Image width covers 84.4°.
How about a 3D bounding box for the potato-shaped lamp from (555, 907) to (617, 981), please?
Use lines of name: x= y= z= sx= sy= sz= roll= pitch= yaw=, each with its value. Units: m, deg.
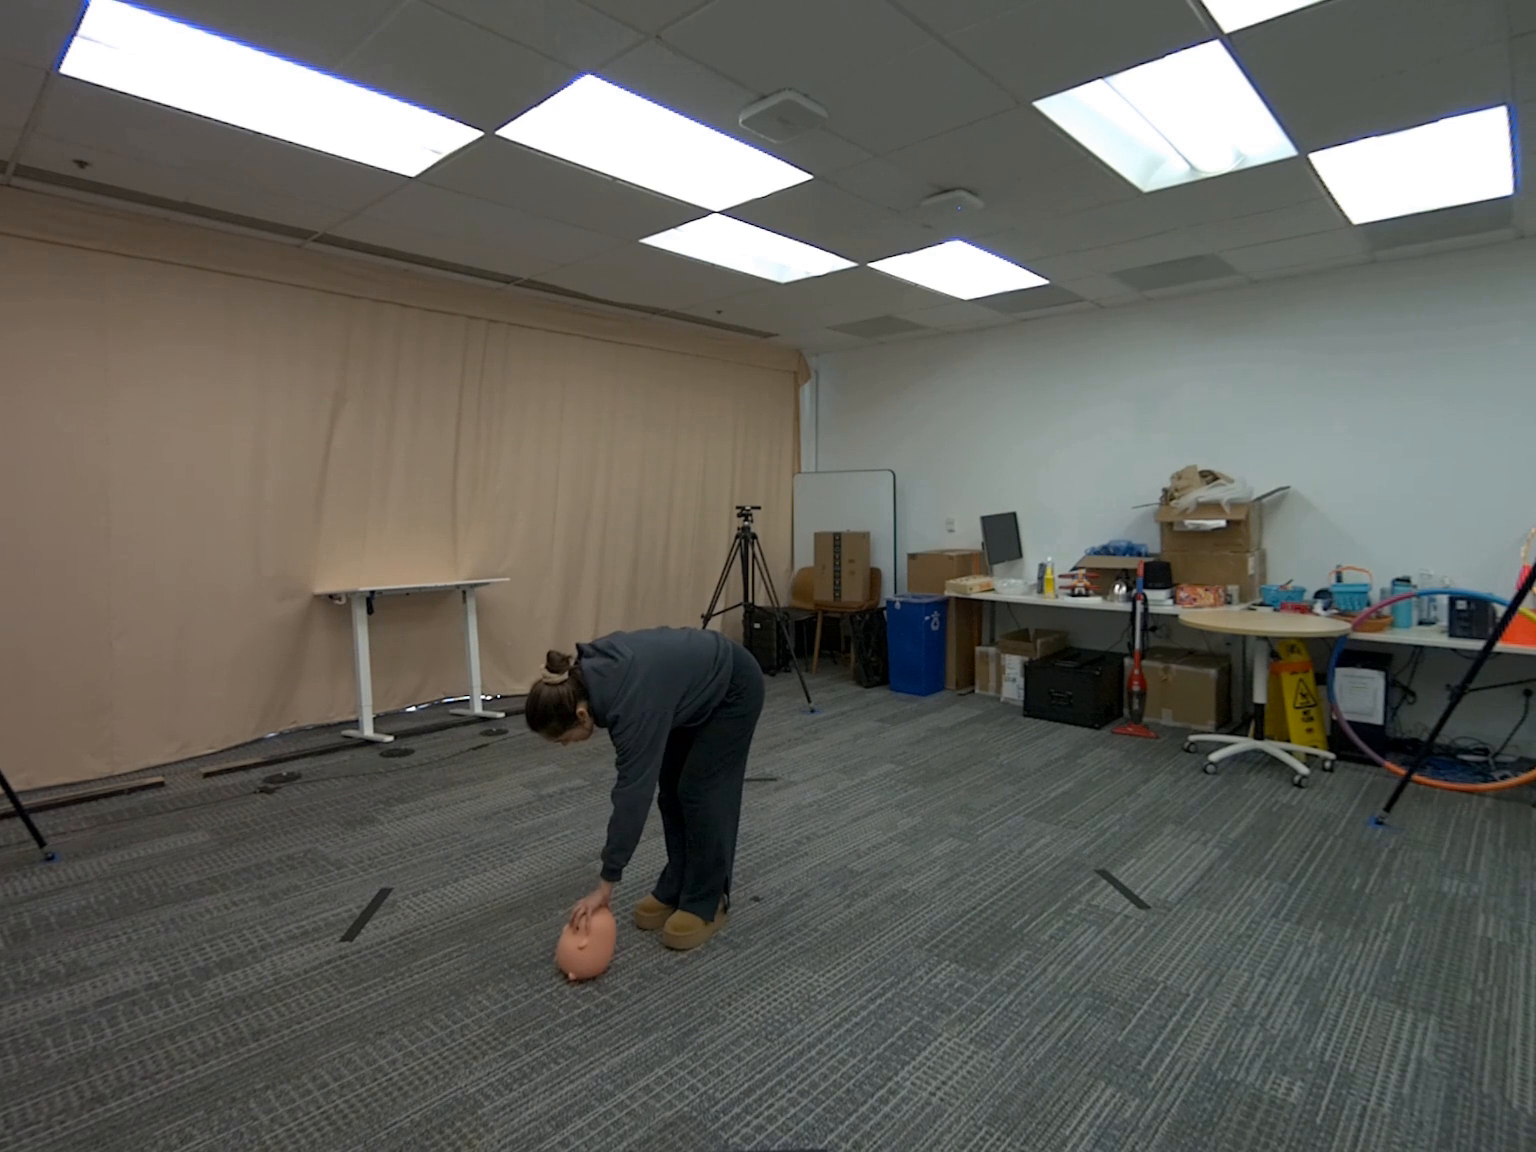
potato-shaped lamp: x=-0.522 y=1.093 z=2.524 sx=0.166 sy=0.198 sz=0.170 roll=13 pitch=-3 yaw=-36
